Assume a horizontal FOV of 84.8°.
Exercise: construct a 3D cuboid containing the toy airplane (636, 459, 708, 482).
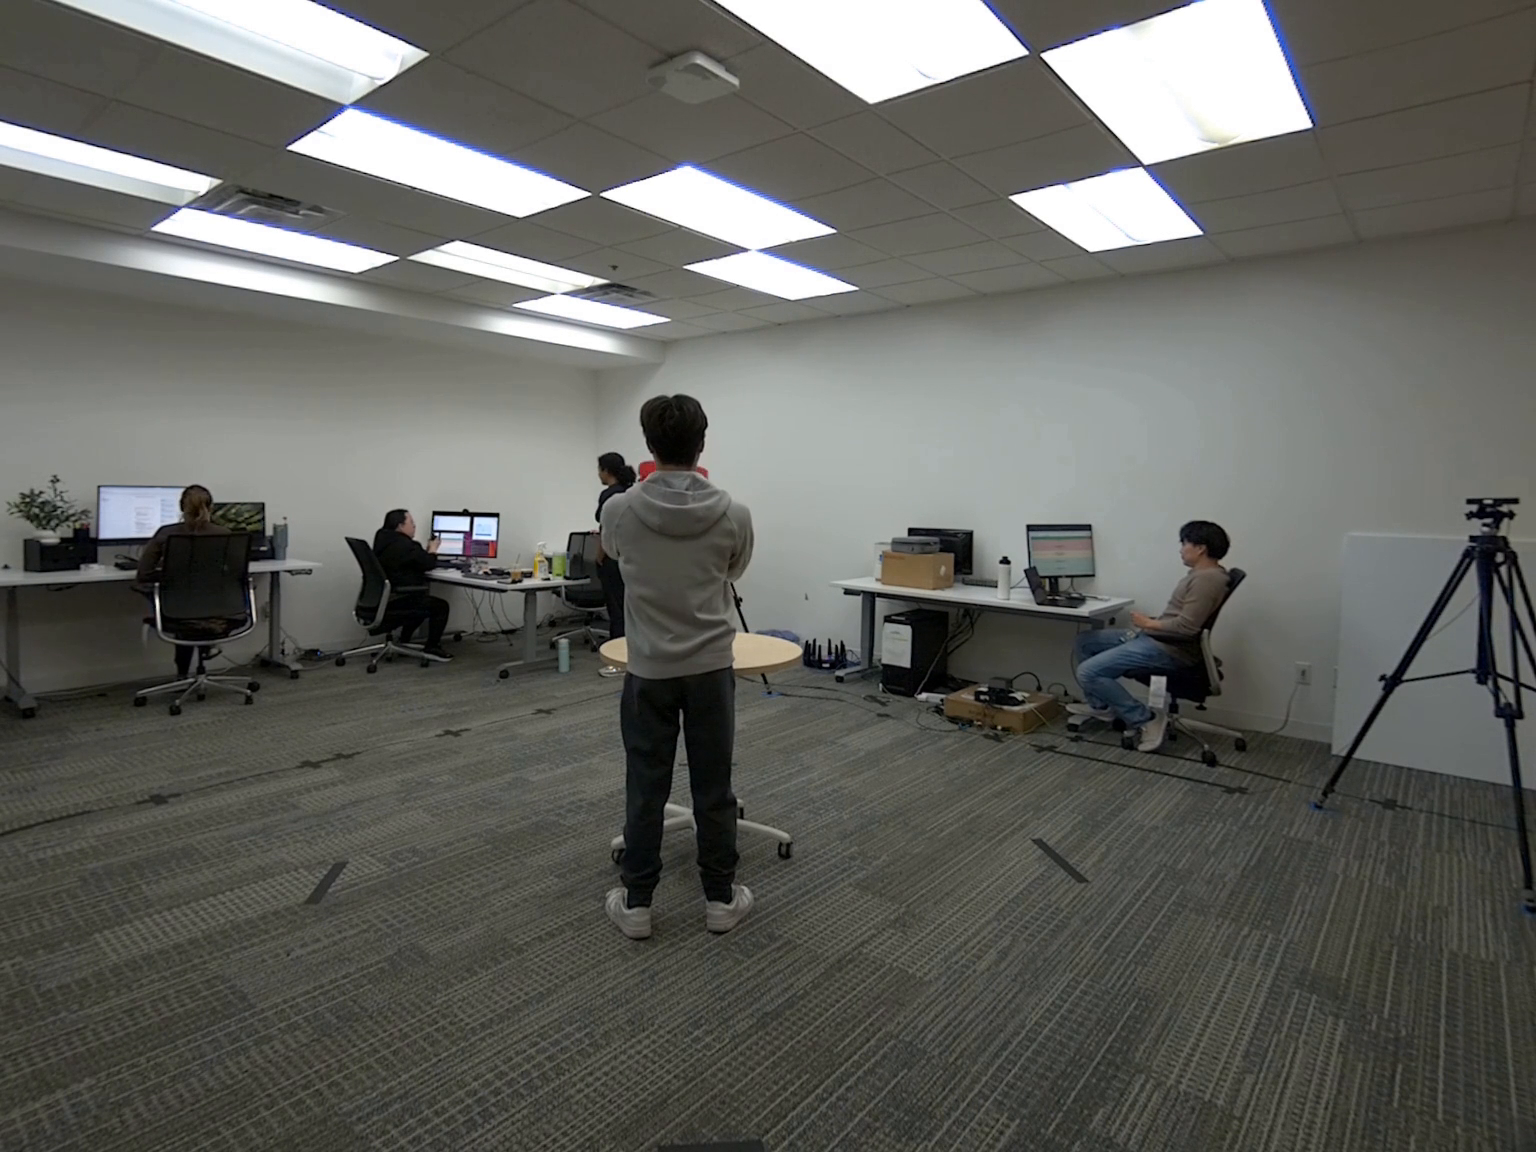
[{"bbox_3d":[-0.340,-0.278,3.080,0.246,0.153,0.270,-12,43,-26],"label":"toy airplane"}]
